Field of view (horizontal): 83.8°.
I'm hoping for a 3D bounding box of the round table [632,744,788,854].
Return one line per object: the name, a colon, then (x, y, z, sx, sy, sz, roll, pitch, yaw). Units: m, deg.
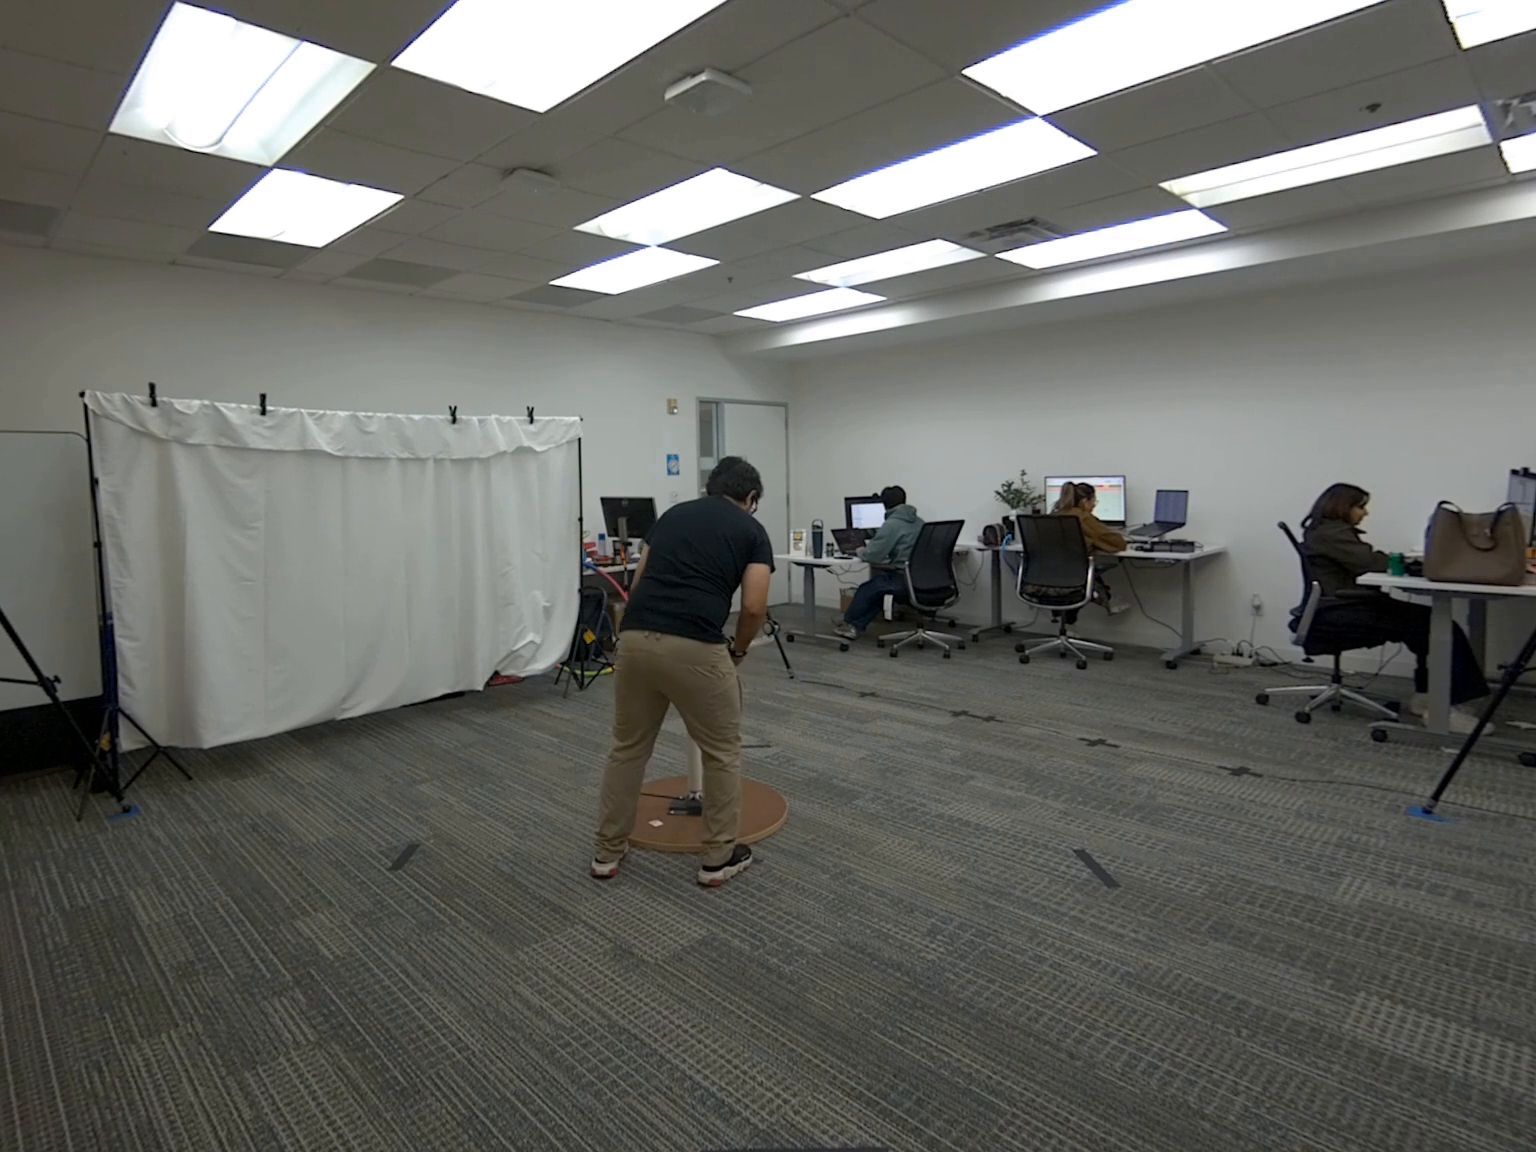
round table: (-0.302, 0.596, 3.555, 0.784, 0.783, 0.789, -1, 5, -2)
